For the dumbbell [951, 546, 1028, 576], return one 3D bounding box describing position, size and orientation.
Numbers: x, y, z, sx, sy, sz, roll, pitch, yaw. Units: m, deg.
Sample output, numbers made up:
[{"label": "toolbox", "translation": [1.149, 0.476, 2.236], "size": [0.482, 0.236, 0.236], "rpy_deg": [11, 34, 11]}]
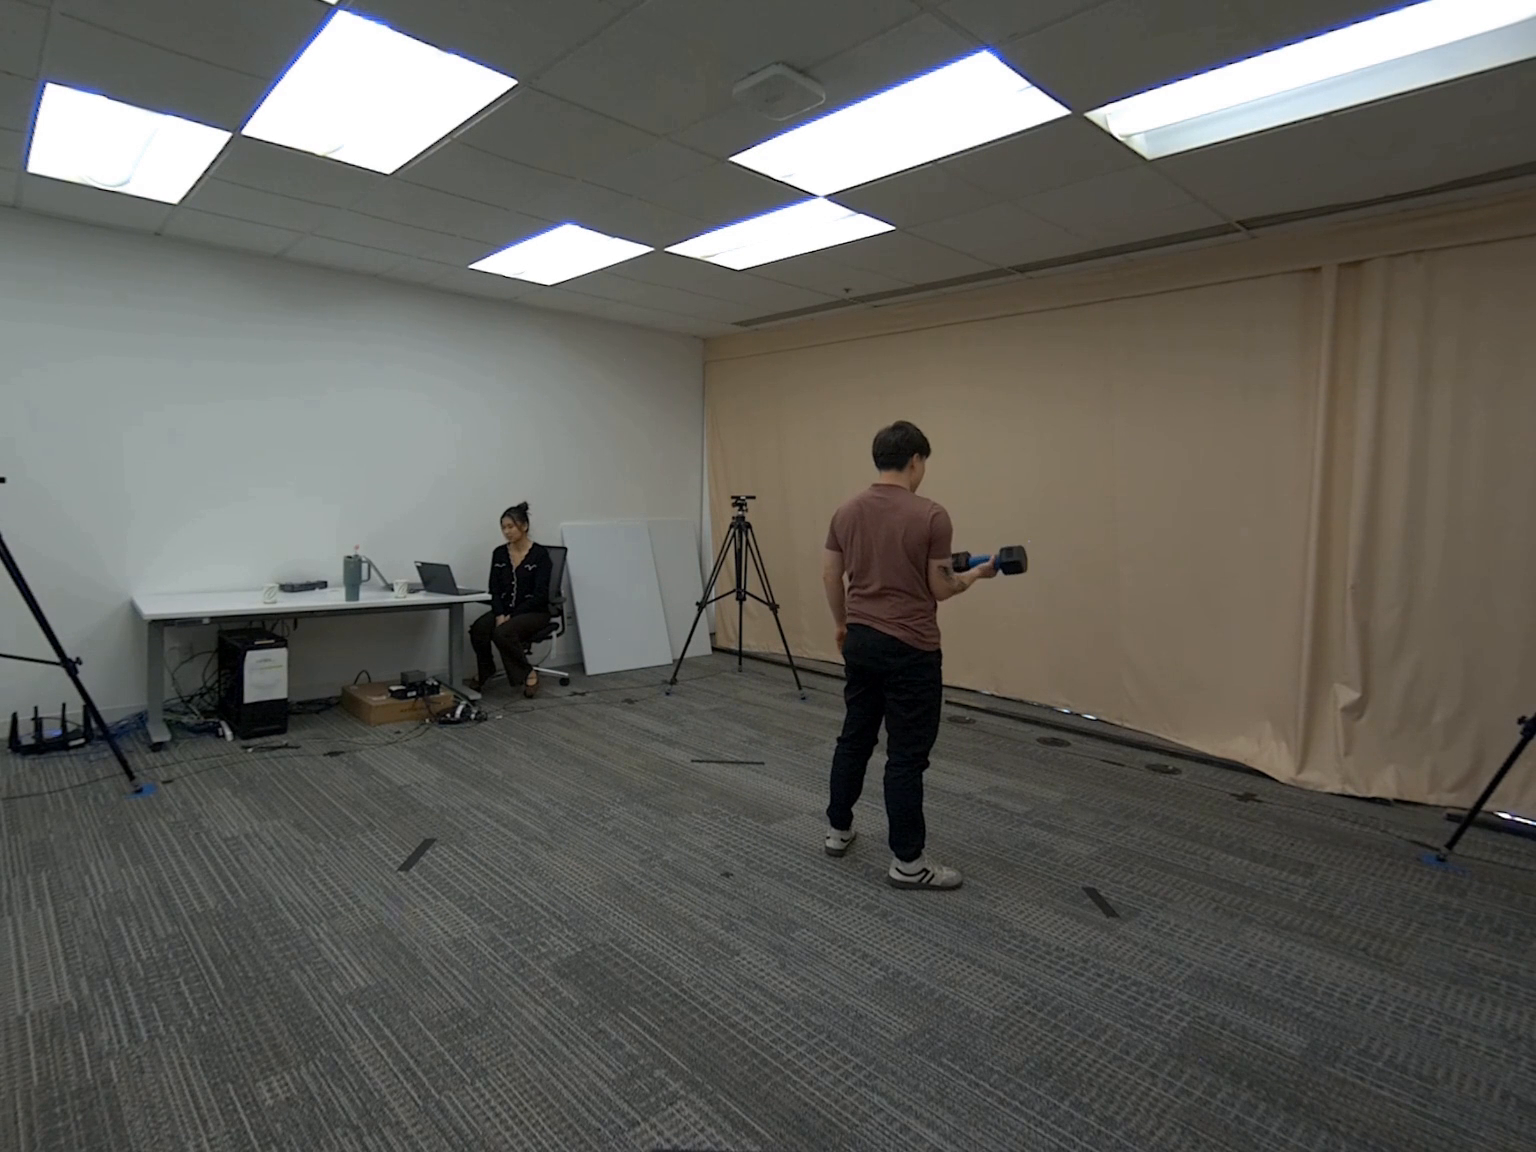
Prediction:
[{"label": "dumbbell", "translation": [0.833, -0.048, 3.255], "size": [0.299, 0.124, 0.105], "rpy_deg": [-8, -30, 35]}]
